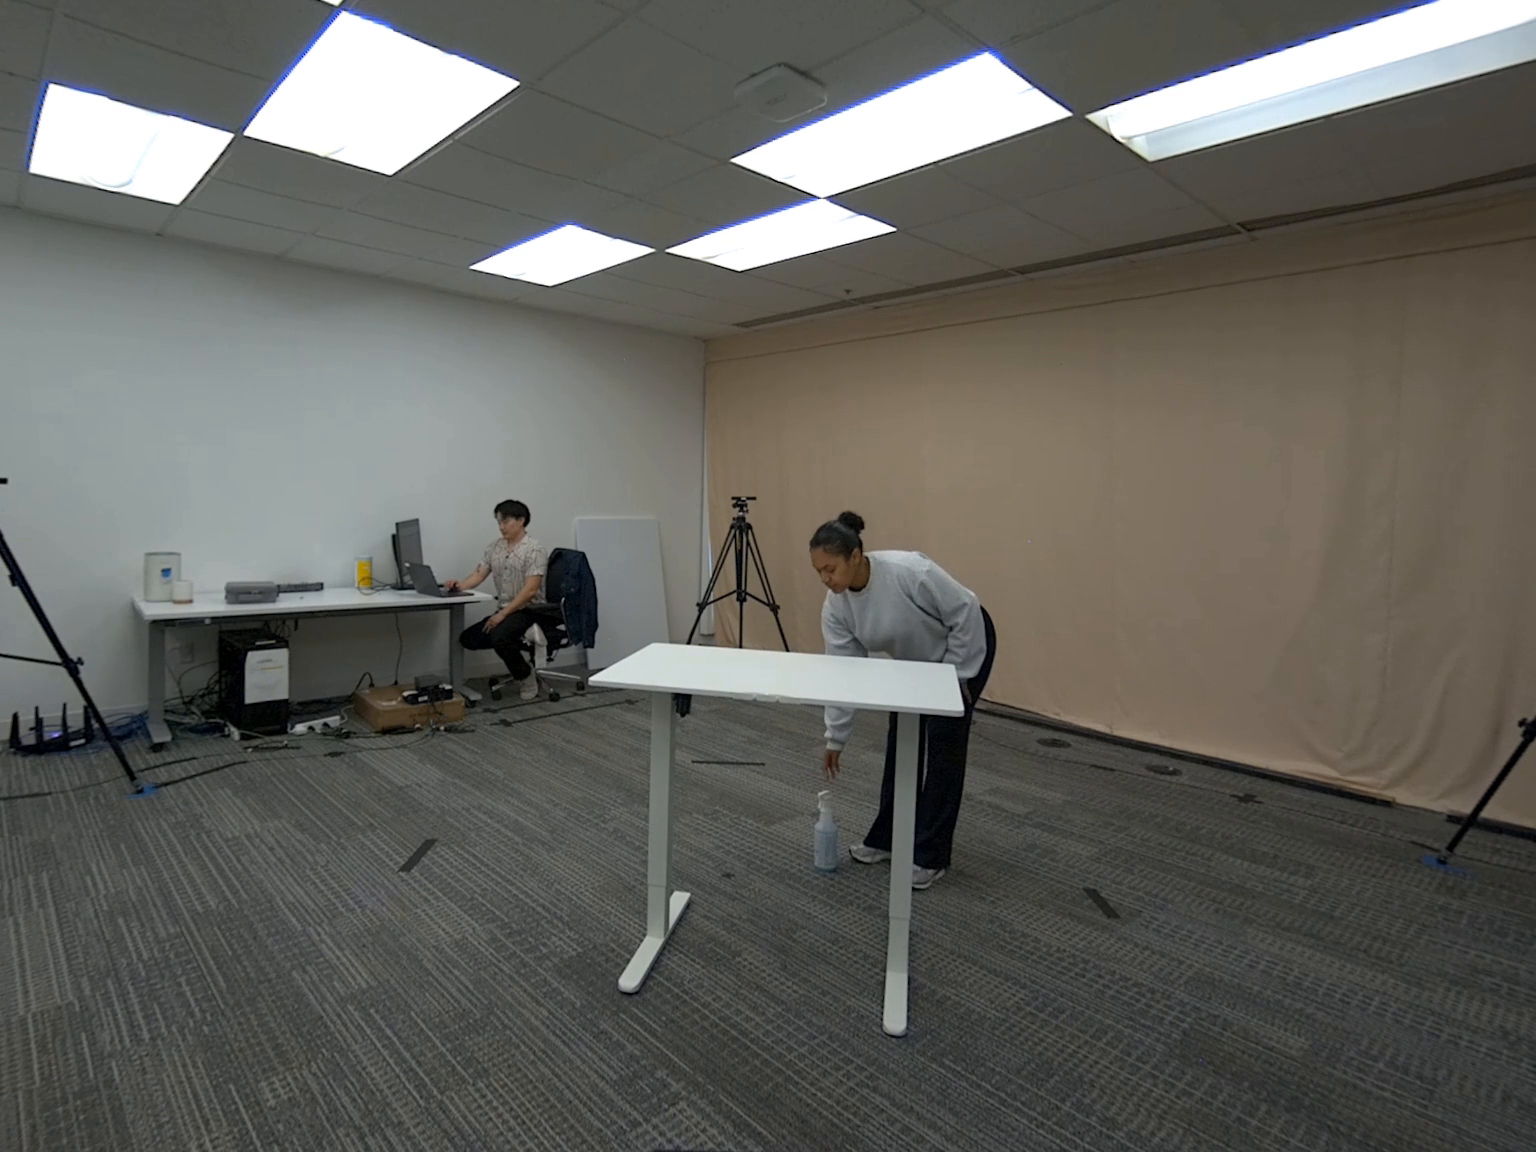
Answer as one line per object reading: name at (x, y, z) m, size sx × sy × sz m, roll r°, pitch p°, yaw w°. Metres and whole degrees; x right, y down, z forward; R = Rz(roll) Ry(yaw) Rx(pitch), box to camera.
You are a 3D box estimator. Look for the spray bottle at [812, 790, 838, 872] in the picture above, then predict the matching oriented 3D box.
spray bottle at (0.215, 0.954, 3.182) m, size 0.088 × 0.296 × 0.089 m, roll -3°, pitch 5°, yaw -27°
